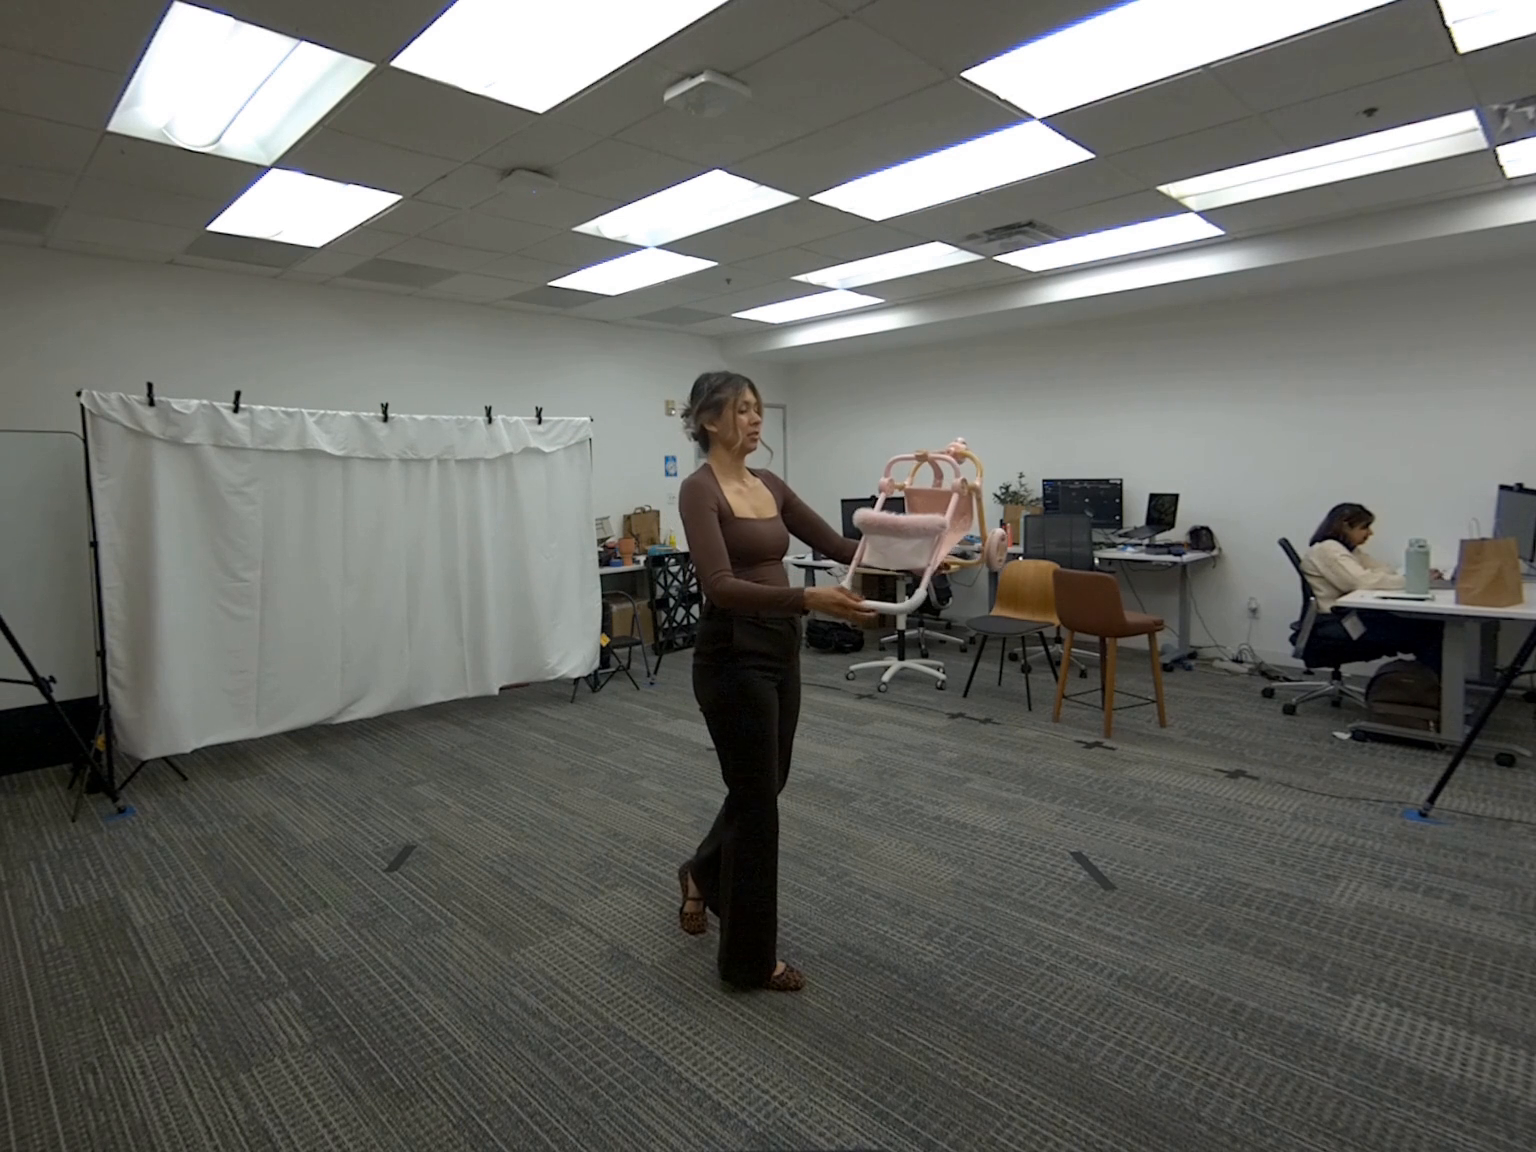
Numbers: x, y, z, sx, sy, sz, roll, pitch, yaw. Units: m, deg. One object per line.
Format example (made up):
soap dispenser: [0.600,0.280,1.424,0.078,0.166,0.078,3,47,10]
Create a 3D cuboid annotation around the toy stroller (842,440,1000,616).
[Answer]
toy stroller: [0.379,-0.140,2.083,0.290,0.337,0.526,9,19,36]
